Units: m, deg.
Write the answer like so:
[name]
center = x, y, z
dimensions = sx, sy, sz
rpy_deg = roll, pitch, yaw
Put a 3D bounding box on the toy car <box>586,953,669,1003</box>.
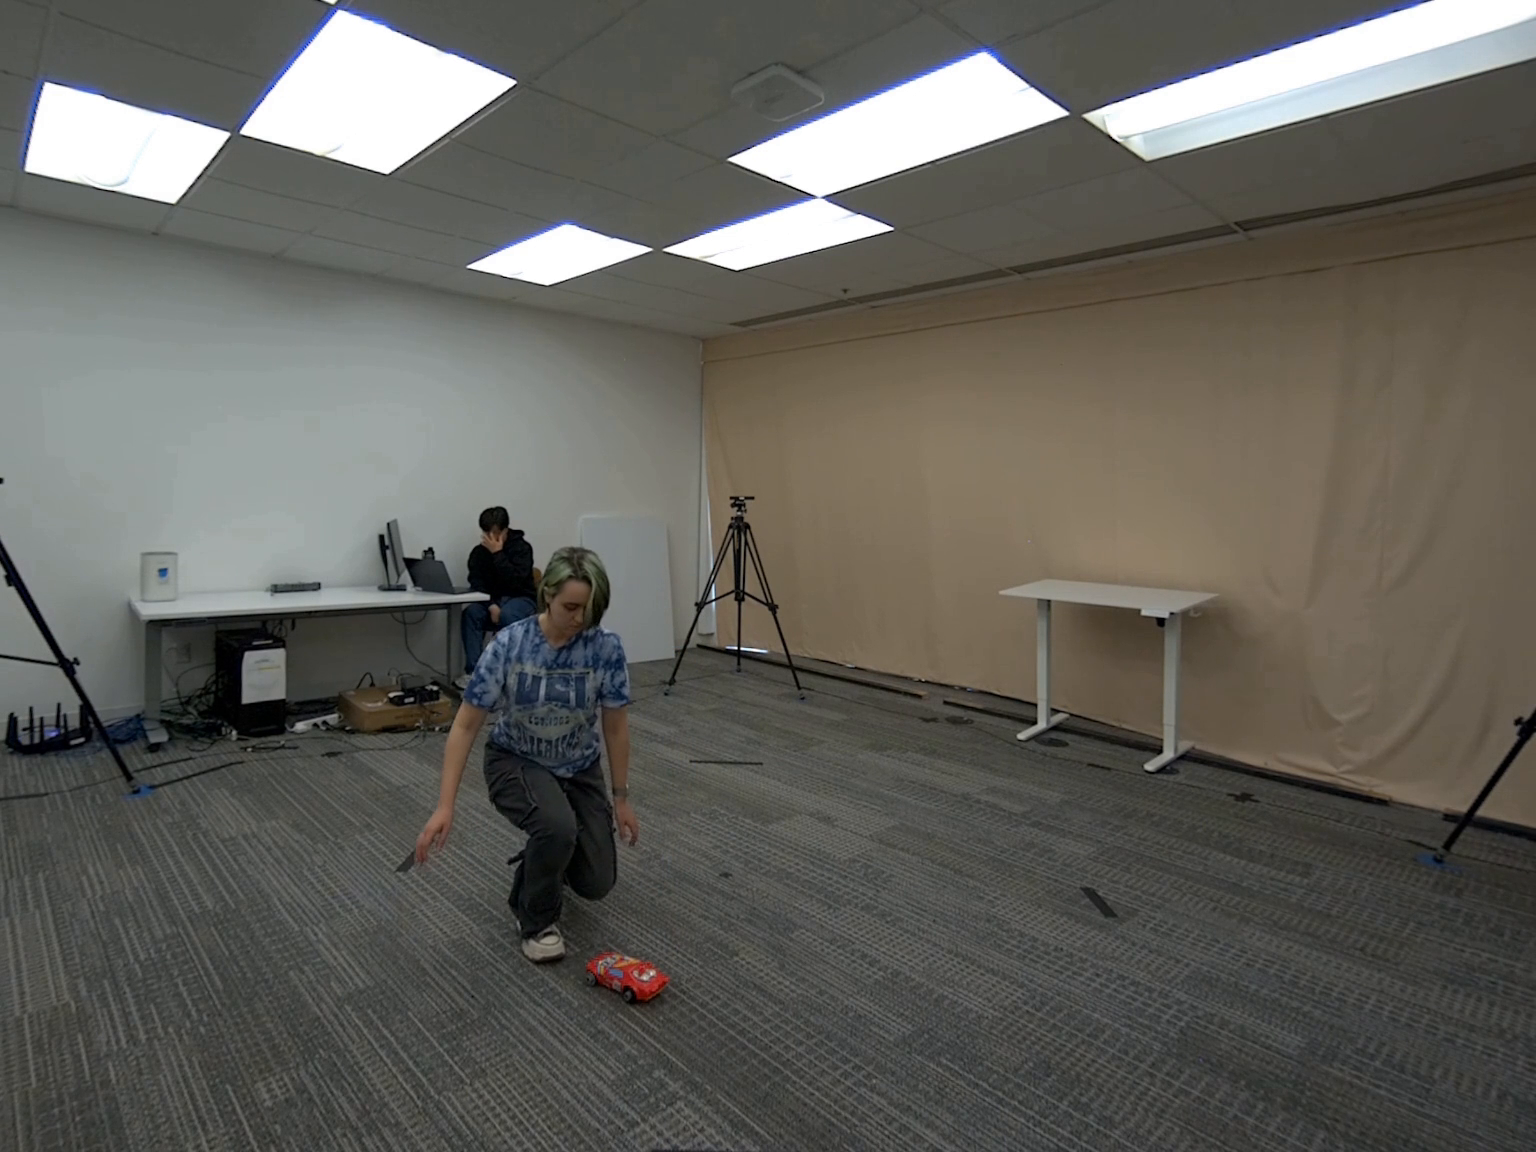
[toy car]
center = -0.398, 1.136, 2.369
dimensions = 0.259, 0.083, 0.127
rpy_deg = -9, -2, 35
